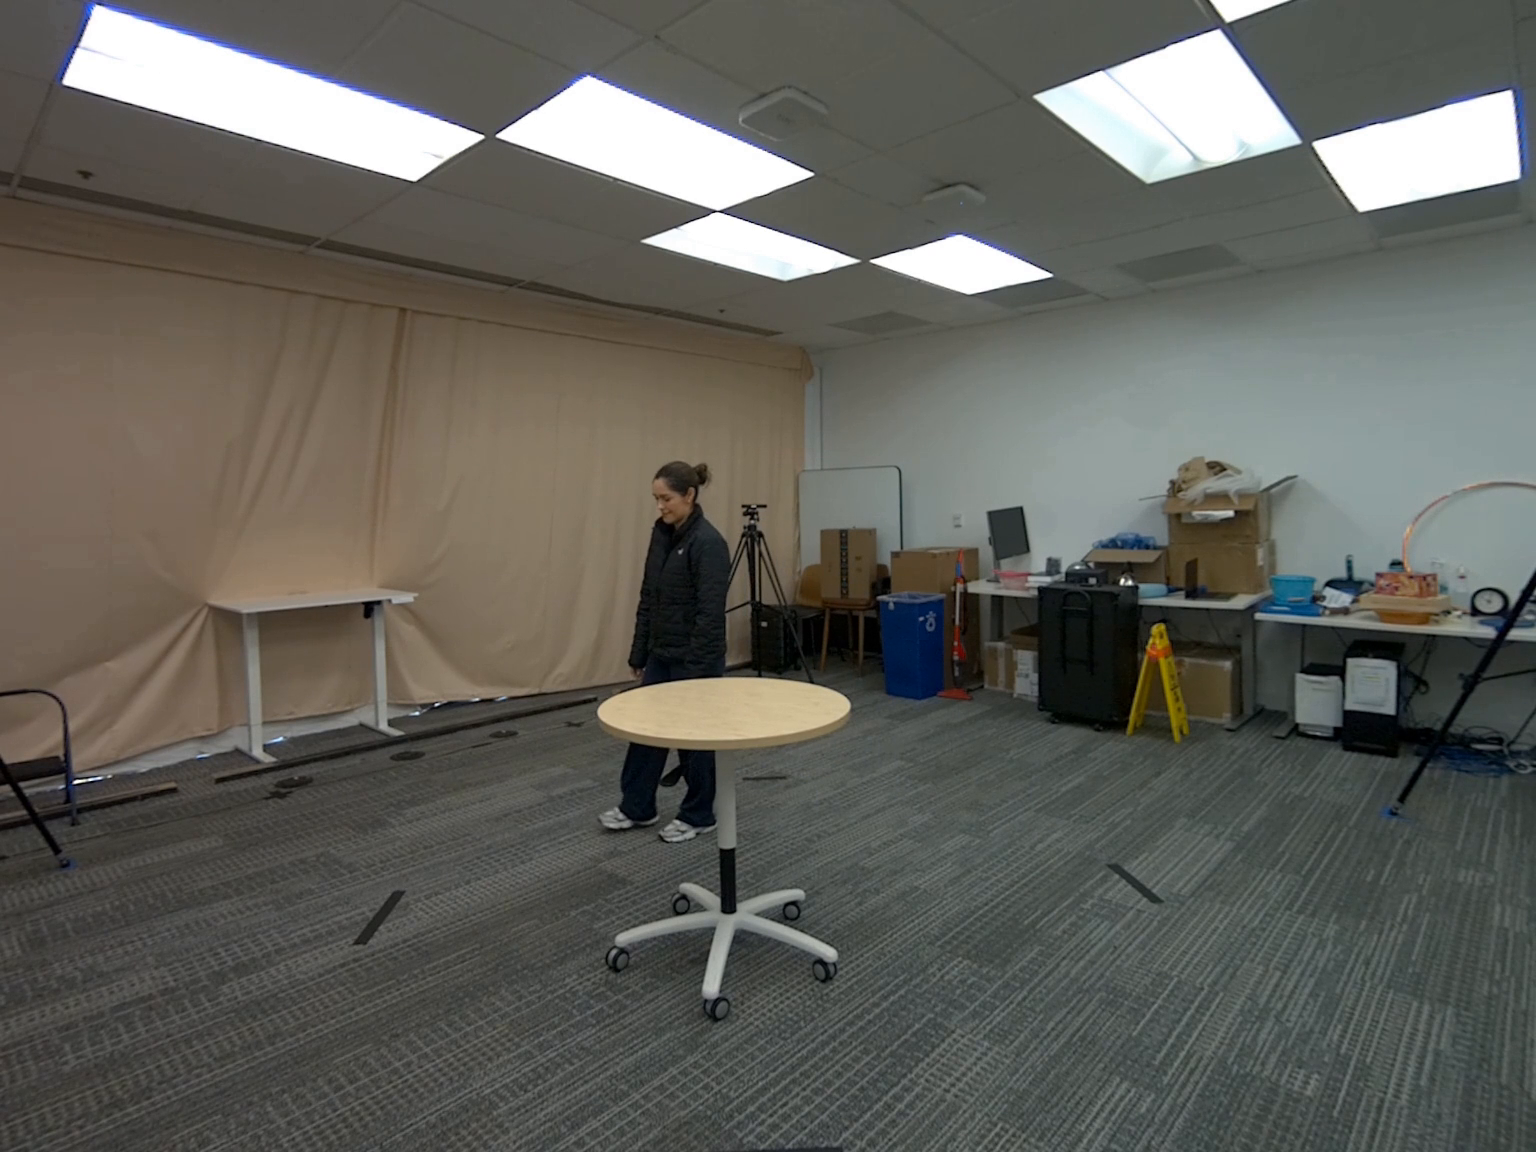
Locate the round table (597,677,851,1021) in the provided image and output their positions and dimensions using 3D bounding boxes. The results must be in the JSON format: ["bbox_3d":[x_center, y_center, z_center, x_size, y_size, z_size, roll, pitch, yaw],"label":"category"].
[{"bbox_3d":[-0.092,0.780,2.595,0.784,0.784,0.788,-1,4,-2],"label":"round table"}]
